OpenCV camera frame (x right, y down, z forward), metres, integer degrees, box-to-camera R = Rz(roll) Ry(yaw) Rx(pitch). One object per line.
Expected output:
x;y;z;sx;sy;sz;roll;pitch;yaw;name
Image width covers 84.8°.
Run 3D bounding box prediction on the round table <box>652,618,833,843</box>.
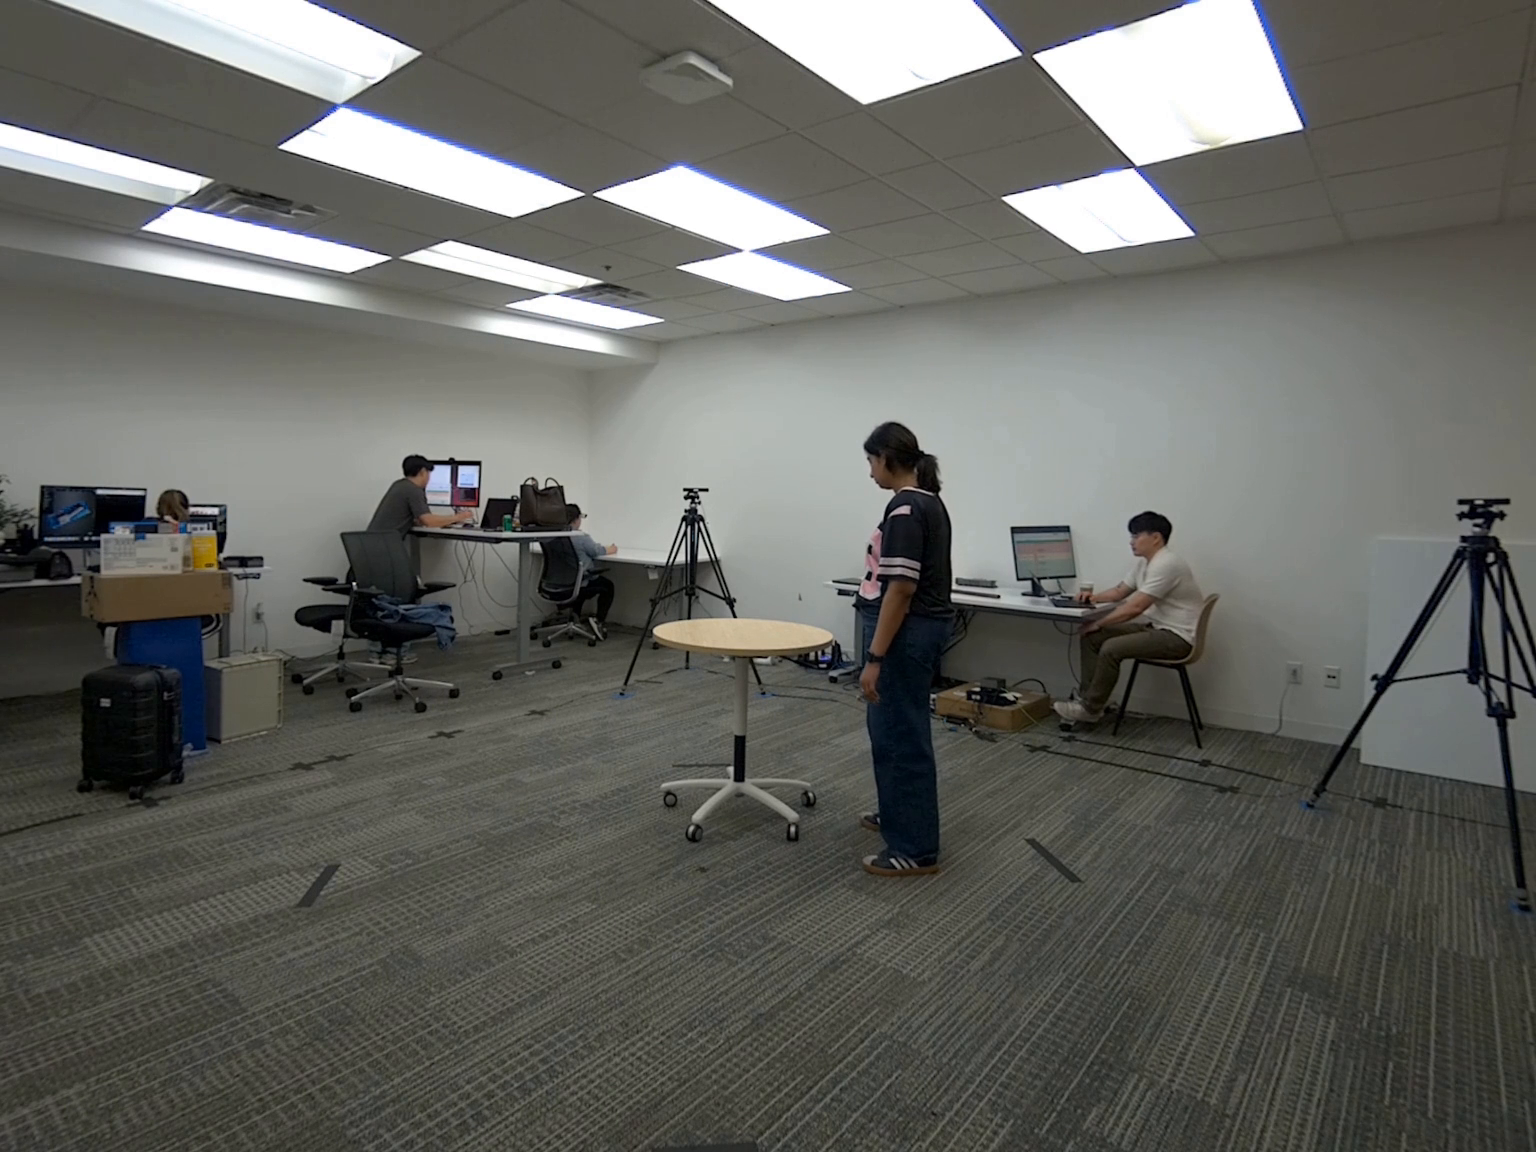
-0.131;0.631;3.649;0.763;0.791;0.768;1;4;-2;round table
